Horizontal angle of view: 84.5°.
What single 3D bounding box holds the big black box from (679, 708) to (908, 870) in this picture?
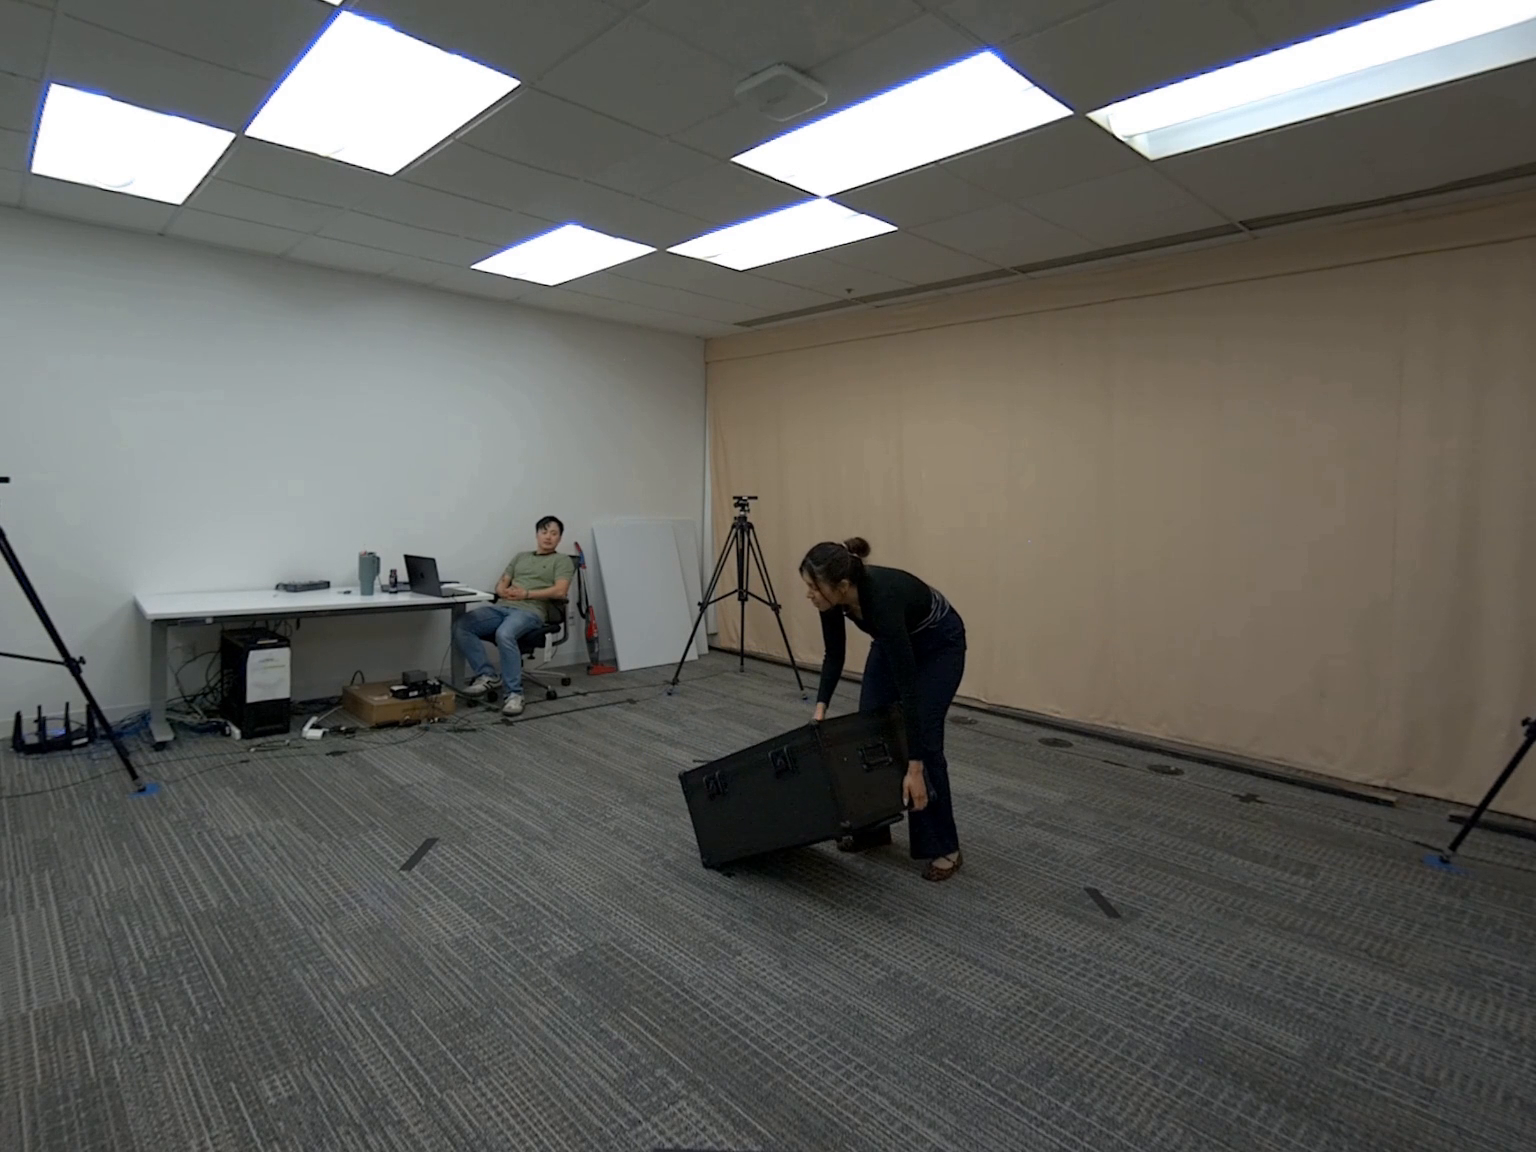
[{"bbox_3d":[0.133,0.776,3.070,0.509,0.402,0.868,-1,-21,-41],"label":"big black box"}]
